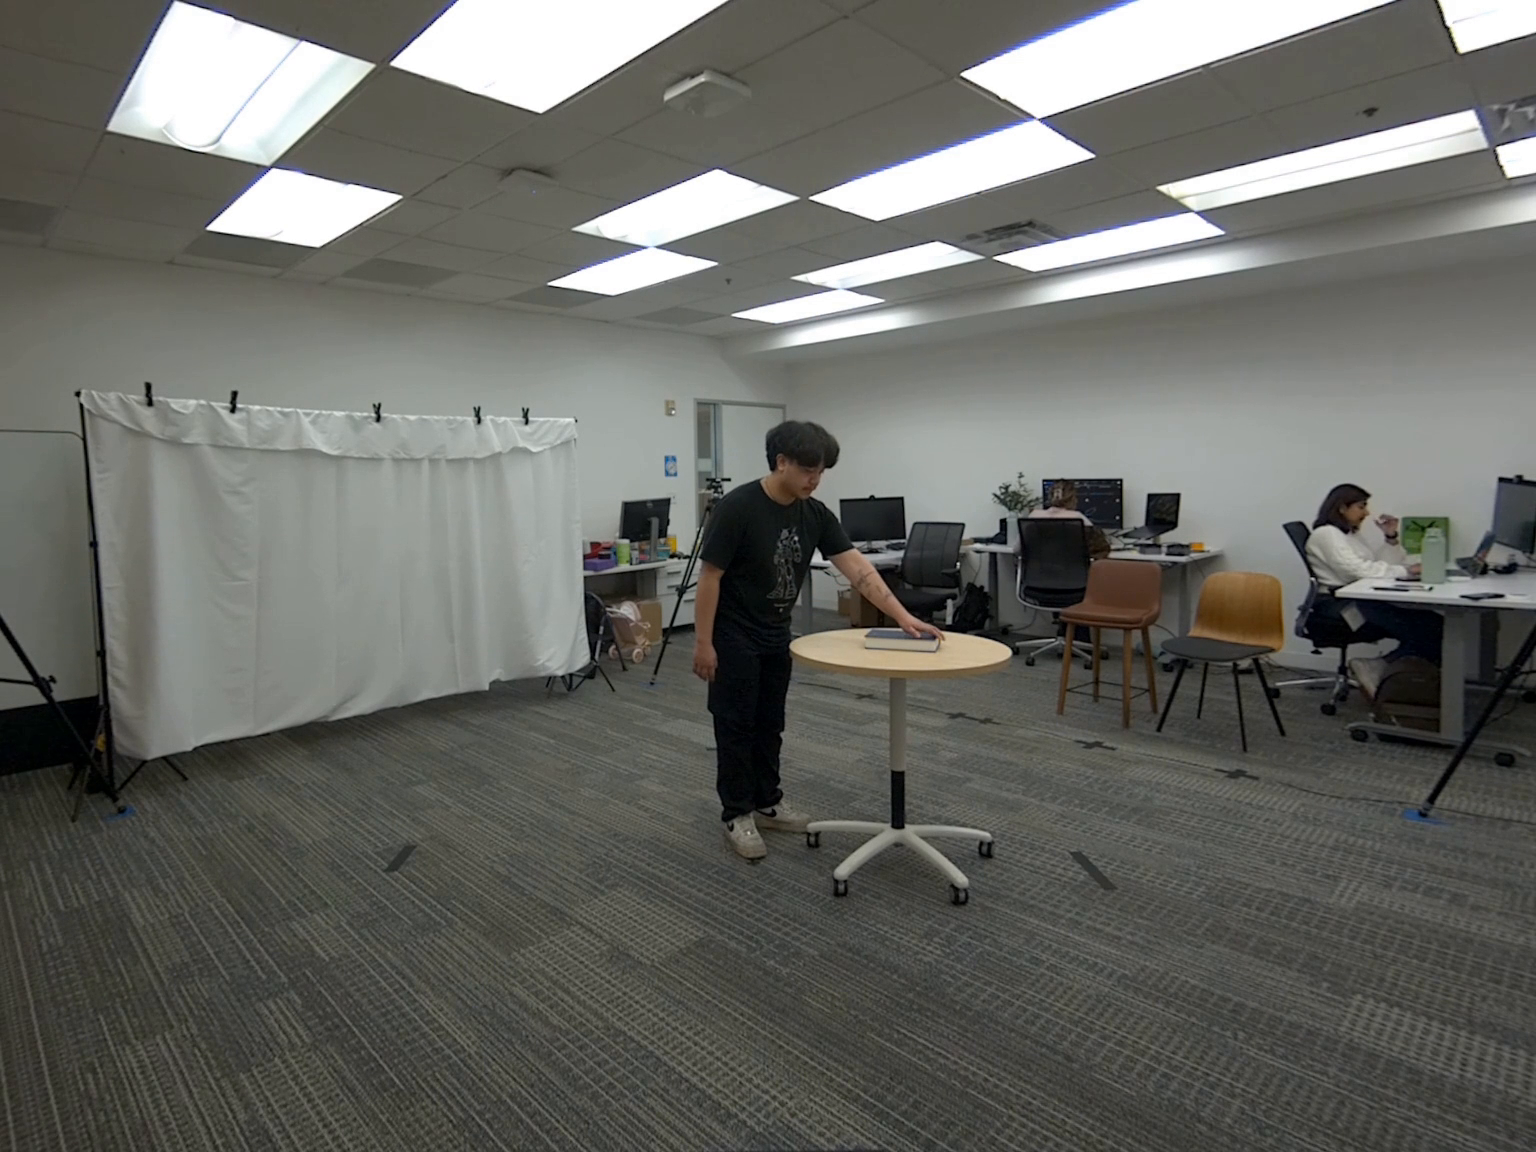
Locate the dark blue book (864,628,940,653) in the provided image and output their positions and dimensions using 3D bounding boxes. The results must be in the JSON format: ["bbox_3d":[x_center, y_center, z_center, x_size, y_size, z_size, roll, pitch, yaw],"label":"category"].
[{"bbox_3d":[0.492,0.231,3.018,0.250,0.045,0.161,2,7,19],"label":"dark blue book"}]
